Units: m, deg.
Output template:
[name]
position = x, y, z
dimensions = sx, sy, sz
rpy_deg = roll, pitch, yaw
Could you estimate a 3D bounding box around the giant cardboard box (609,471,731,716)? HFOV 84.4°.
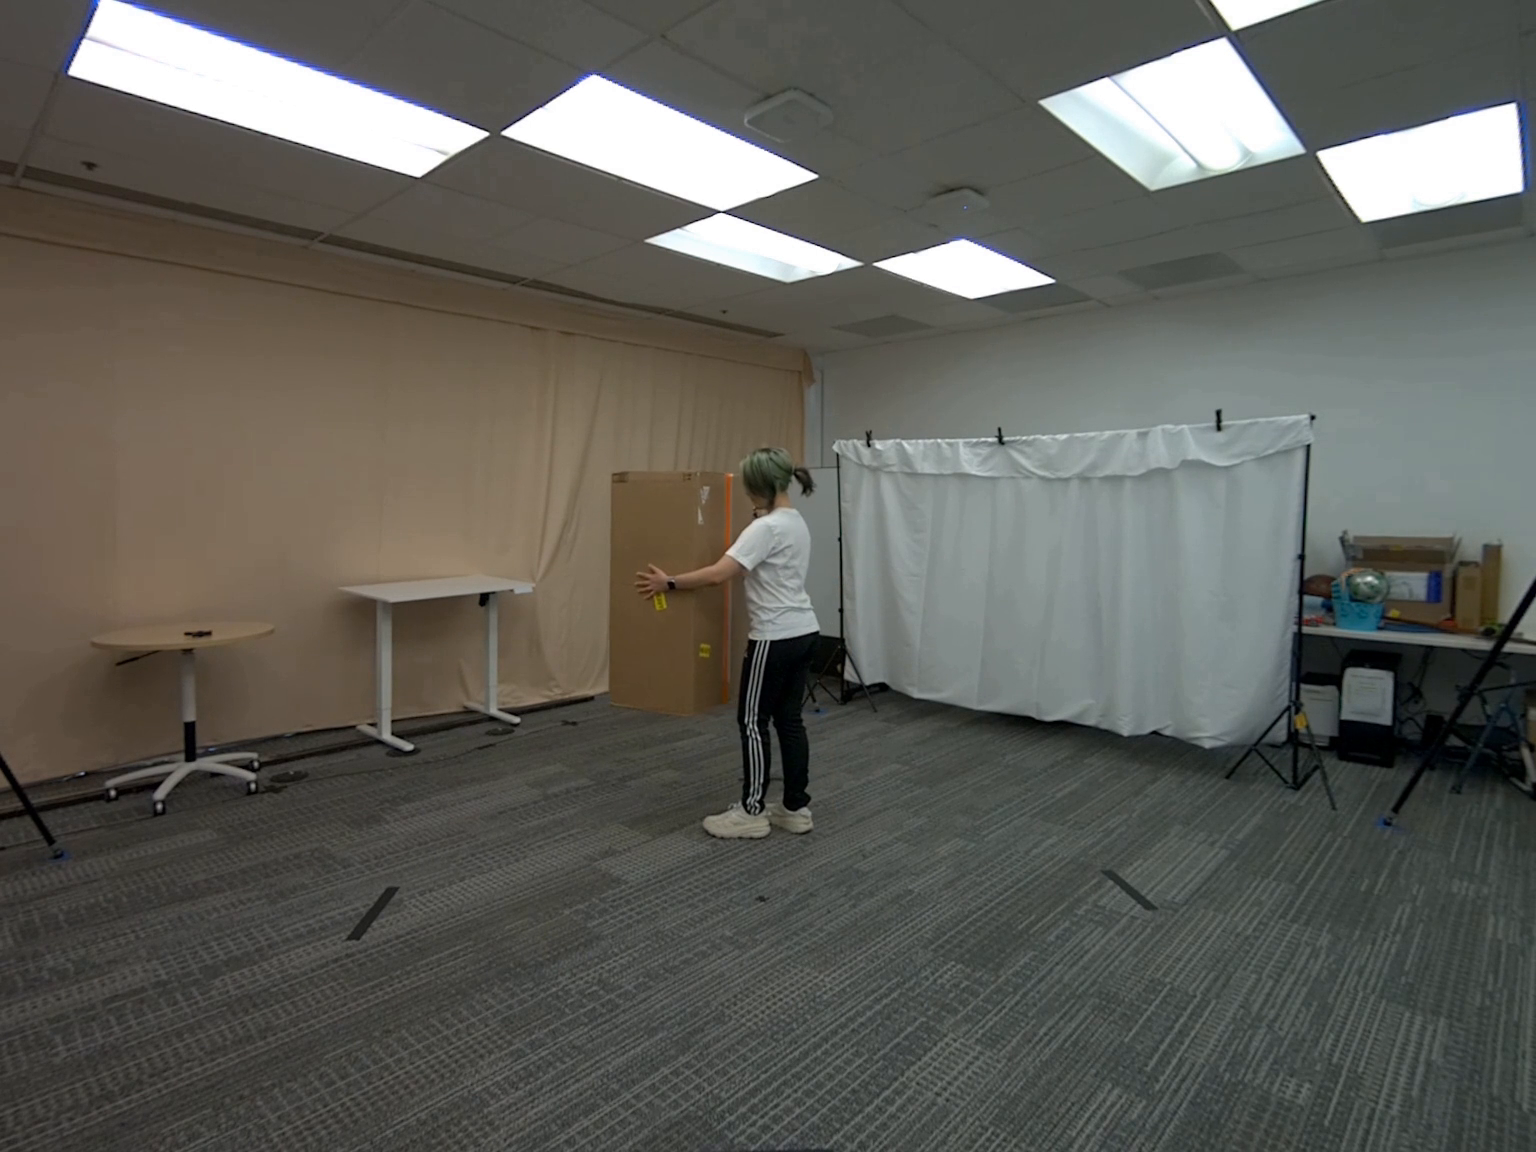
[giant cardboard box]
position = -0.377, 0.057, 3.822
dimensions = 0.458, 1.025, 0.570
rpy_deg = 2, 3, 24
